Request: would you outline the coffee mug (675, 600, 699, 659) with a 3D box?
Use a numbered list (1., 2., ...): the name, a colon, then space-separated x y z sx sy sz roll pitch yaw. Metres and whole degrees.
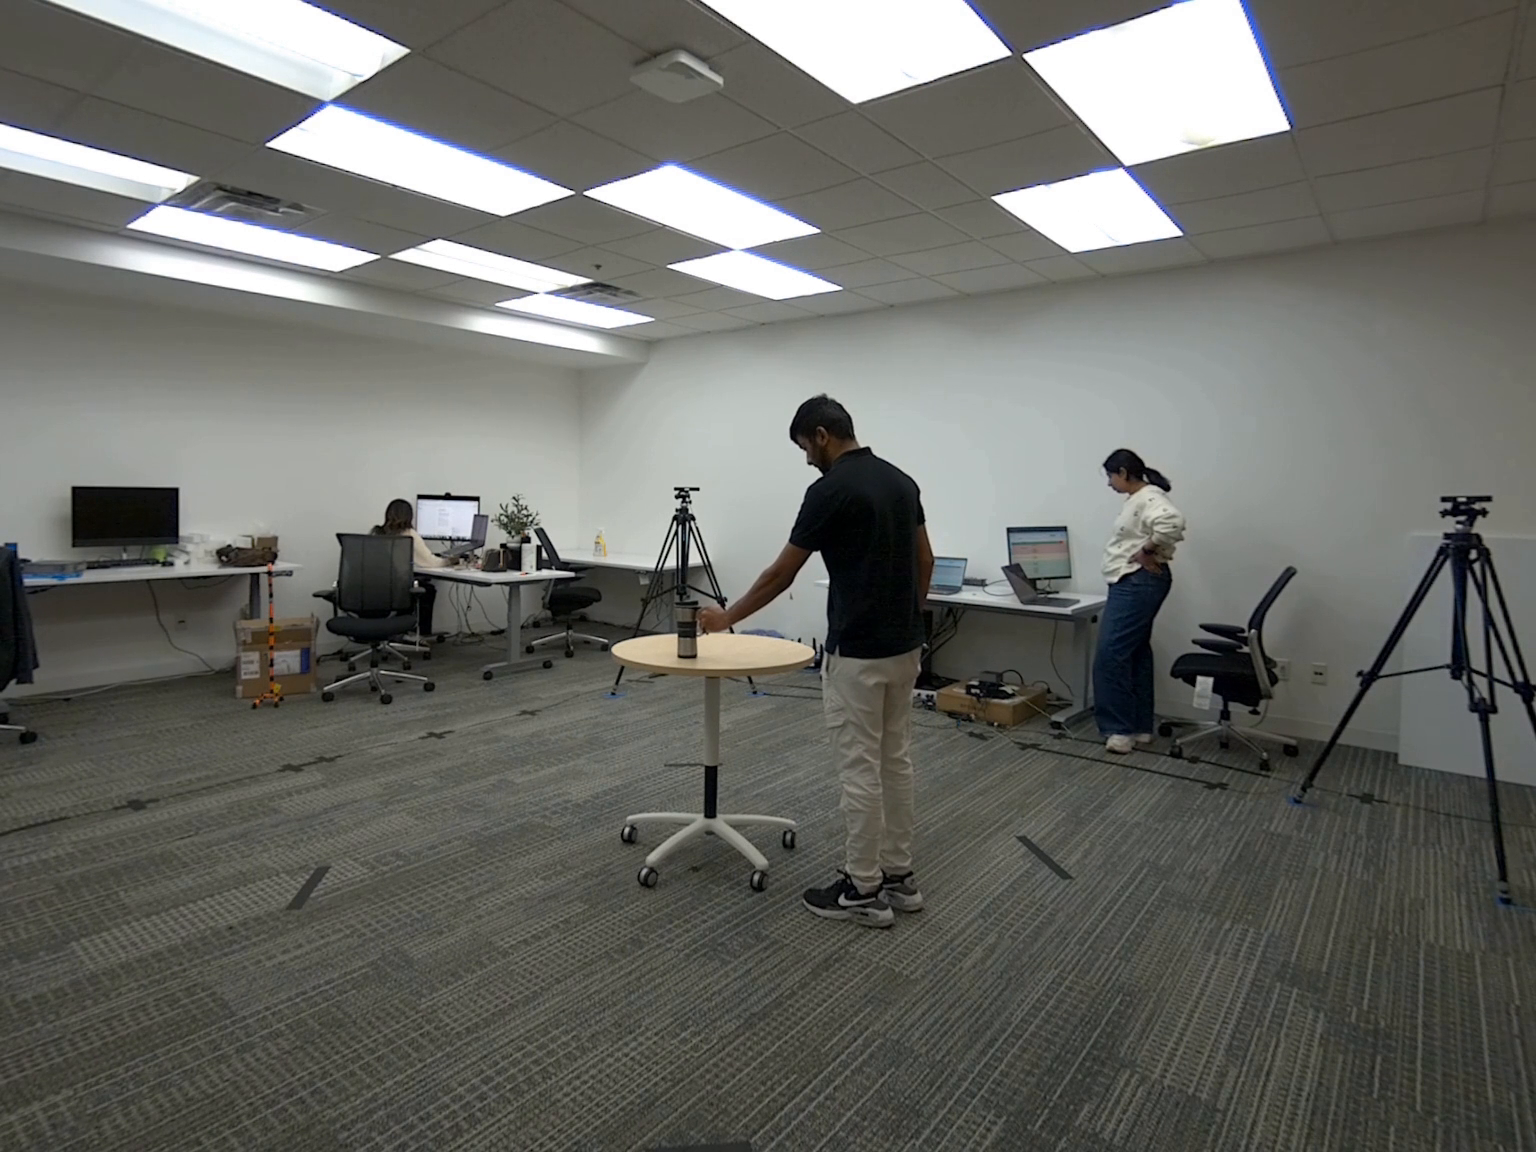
1. coffee mug: -0.284 0.189 3.019 0.126 0.203 0.085 0 -1 44
